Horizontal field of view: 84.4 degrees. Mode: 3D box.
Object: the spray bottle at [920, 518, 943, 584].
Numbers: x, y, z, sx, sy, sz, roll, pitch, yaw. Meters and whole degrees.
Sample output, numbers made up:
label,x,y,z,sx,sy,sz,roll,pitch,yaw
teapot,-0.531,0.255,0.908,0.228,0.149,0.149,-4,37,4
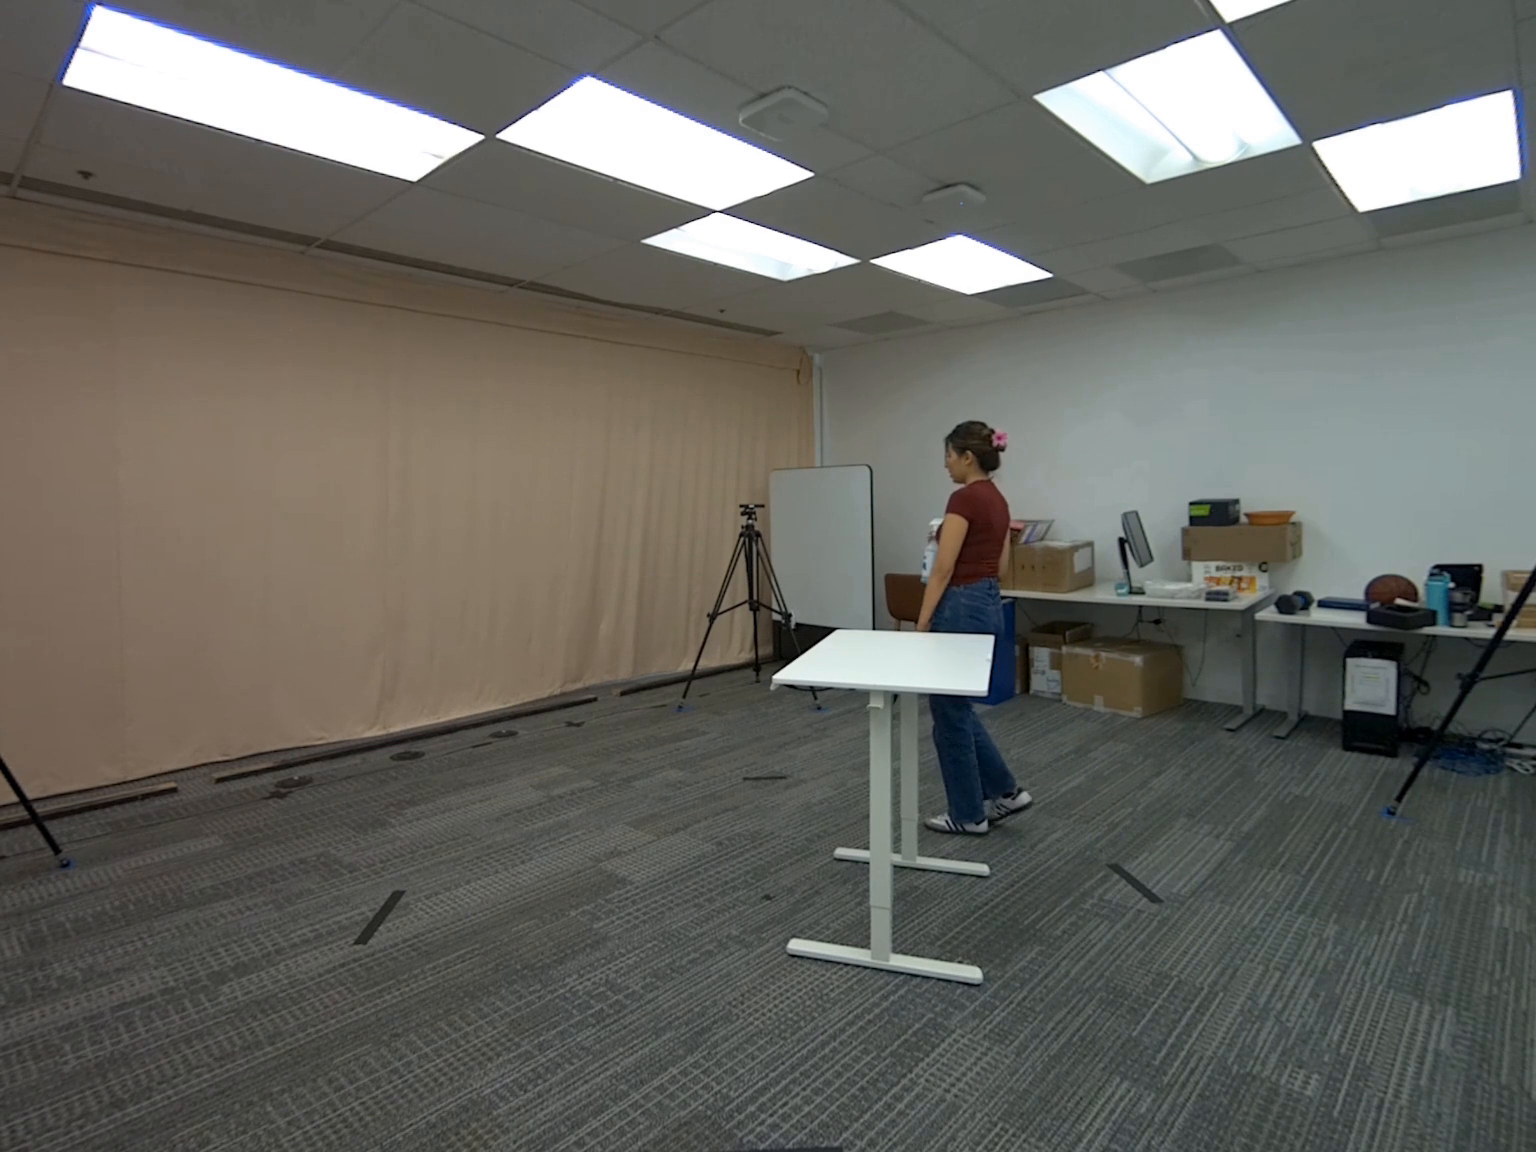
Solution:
label,x,y,z,sx,sy,sz,roll,pitch,yaw
spray bottle,0.760,-0.110,3.800,0.085,0.296,0.093,2,7,-28
